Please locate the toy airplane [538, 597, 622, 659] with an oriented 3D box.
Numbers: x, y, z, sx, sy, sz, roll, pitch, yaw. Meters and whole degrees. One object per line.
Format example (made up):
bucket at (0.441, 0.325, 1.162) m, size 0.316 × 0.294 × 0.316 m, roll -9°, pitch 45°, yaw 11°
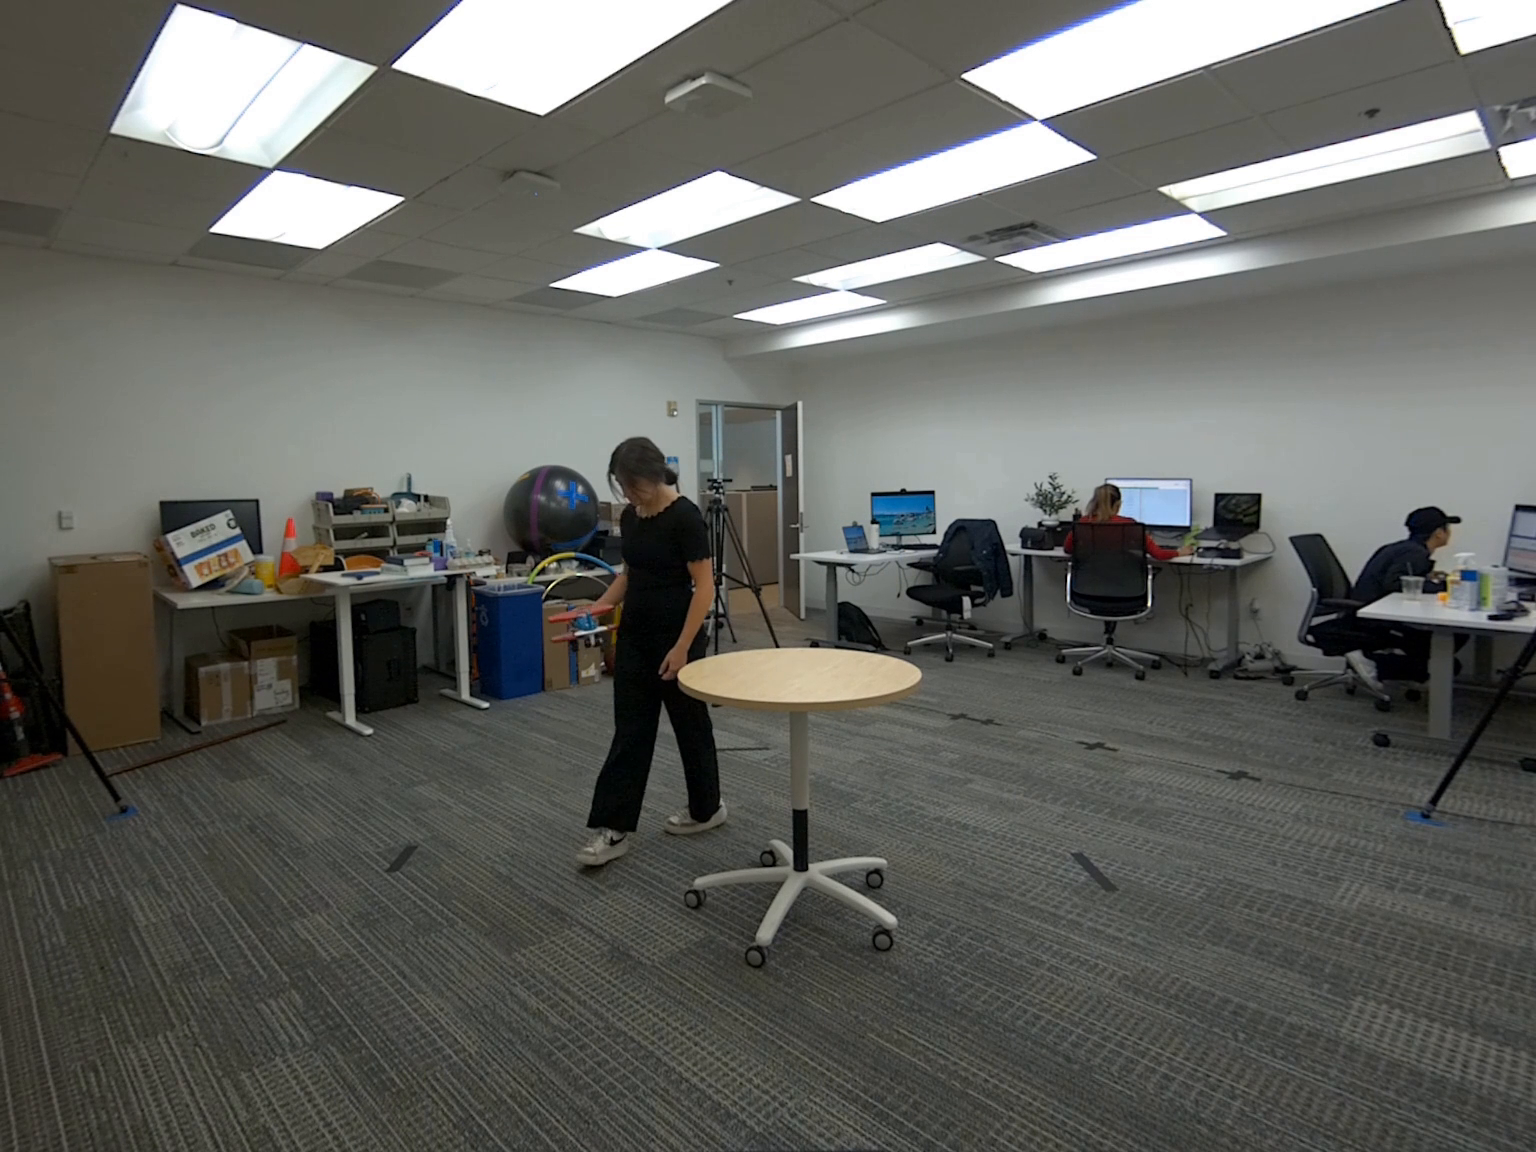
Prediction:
toy airplane at (-0.663, 0.185, 3.188) m, size 0.263 × 0.158 × 0.244 m, roll -21°, pitch -10°, yaw 41°
